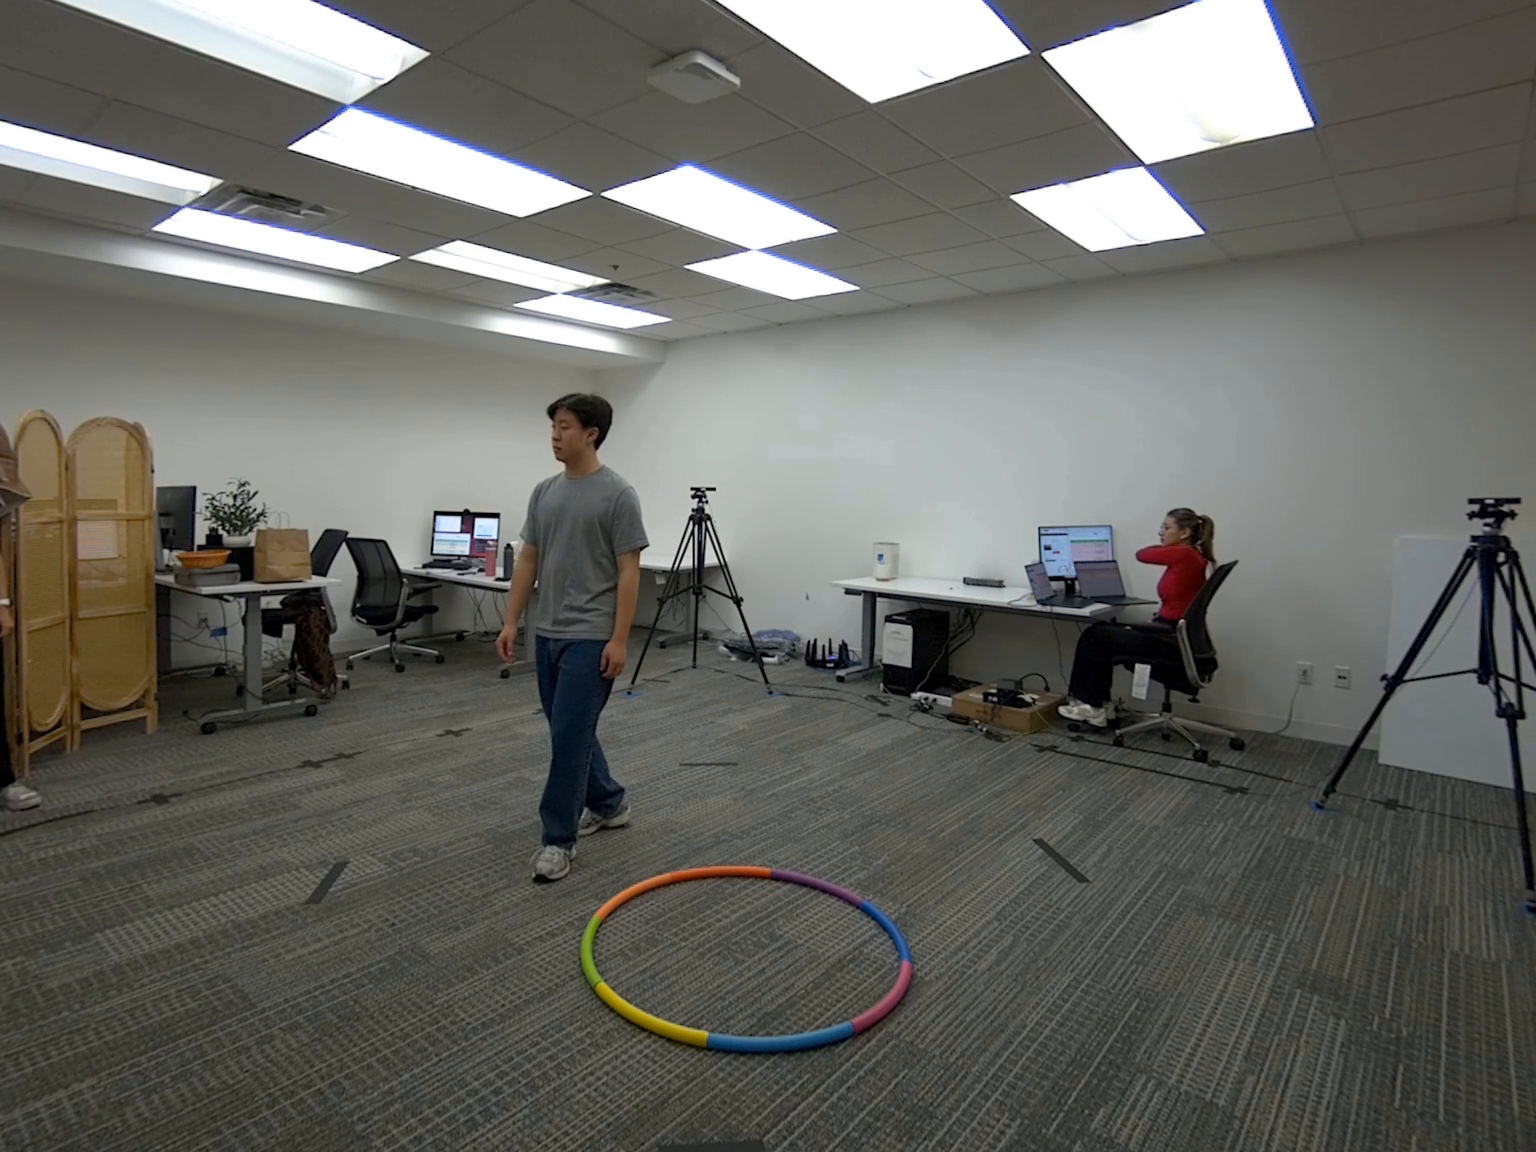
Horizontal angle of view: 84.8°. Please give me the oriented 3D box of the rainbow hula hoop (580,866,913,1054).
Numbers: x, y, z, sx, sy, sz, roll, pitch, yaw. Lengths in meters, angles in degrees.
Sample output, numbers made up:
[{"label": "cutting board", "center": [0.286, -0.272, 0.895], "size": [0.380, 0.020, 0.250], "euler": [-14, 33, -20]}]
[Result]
[{"label": "rainbow hula hoop", "center": [-0.075, 1.091, 2.579], "size": [0.978, 0.035, 0.984], "euler": [1, 6, -2]}]
